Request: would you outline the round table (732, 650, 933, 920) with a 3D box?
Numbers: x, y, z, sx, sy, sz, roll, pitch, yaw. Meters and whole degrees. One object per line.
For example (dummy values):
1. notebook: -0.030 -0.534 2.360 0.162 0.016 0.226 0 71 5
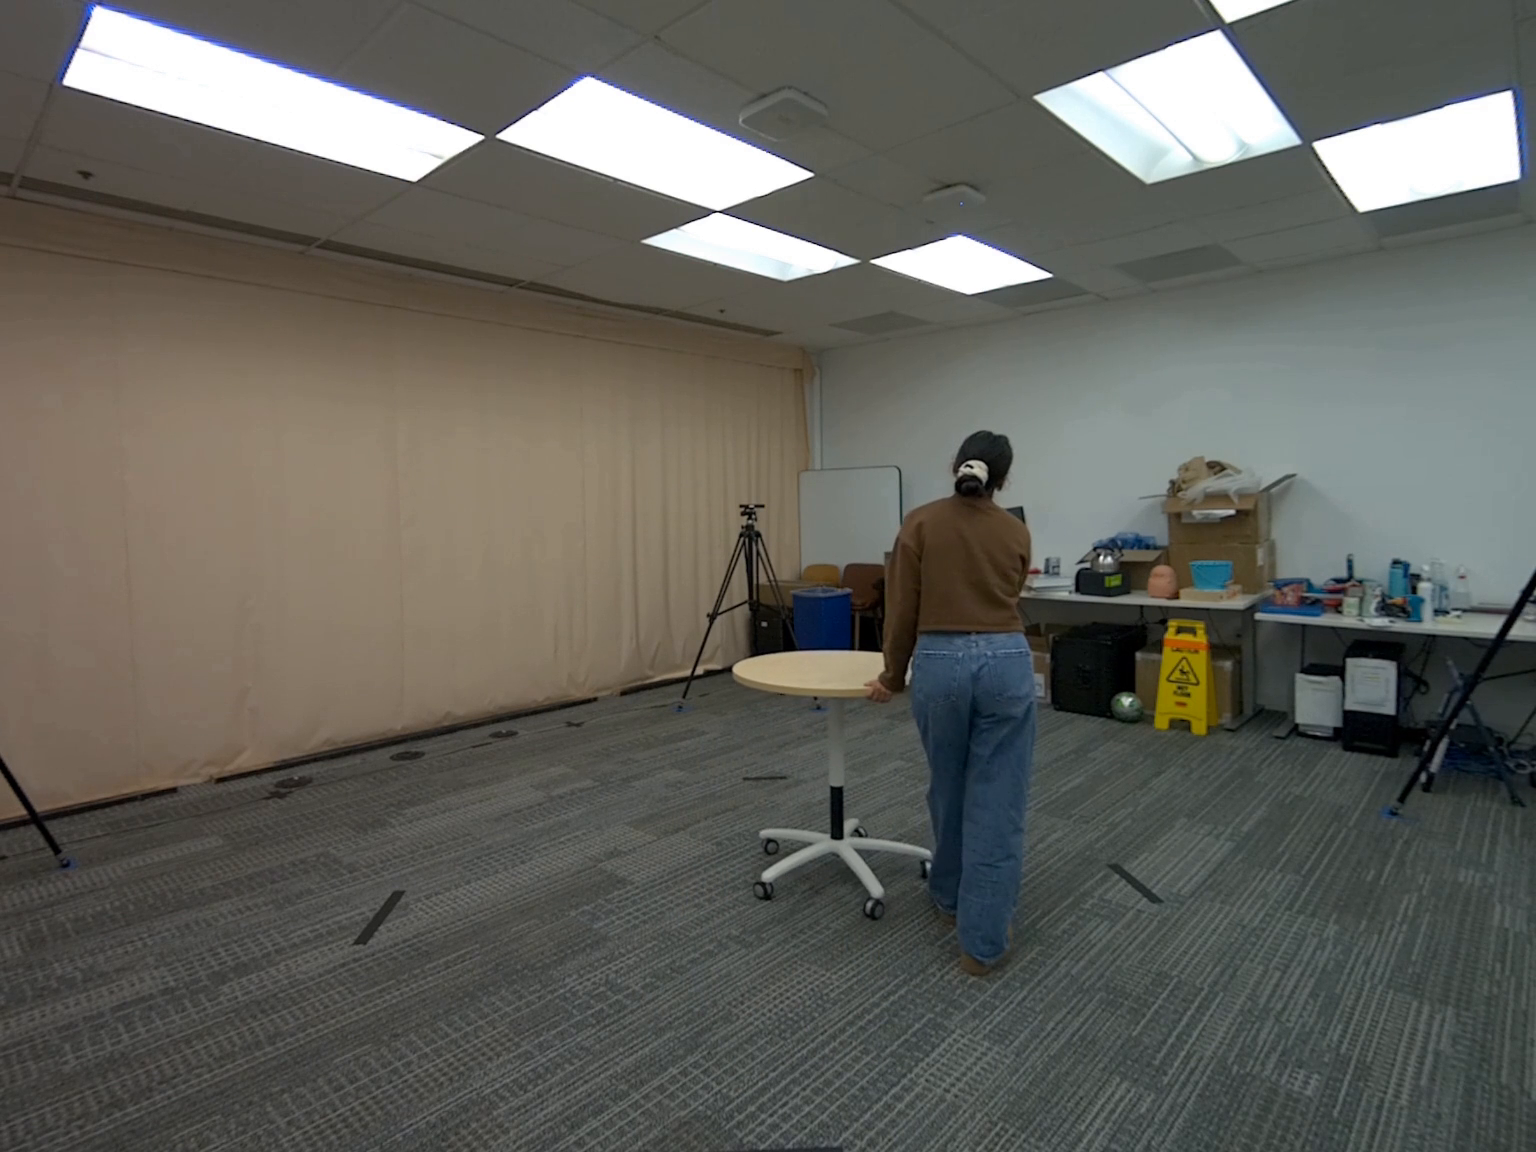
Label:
1. round table: 0.246 0.726 3.148 0.784 0.785 0.788 -1 4 -2
